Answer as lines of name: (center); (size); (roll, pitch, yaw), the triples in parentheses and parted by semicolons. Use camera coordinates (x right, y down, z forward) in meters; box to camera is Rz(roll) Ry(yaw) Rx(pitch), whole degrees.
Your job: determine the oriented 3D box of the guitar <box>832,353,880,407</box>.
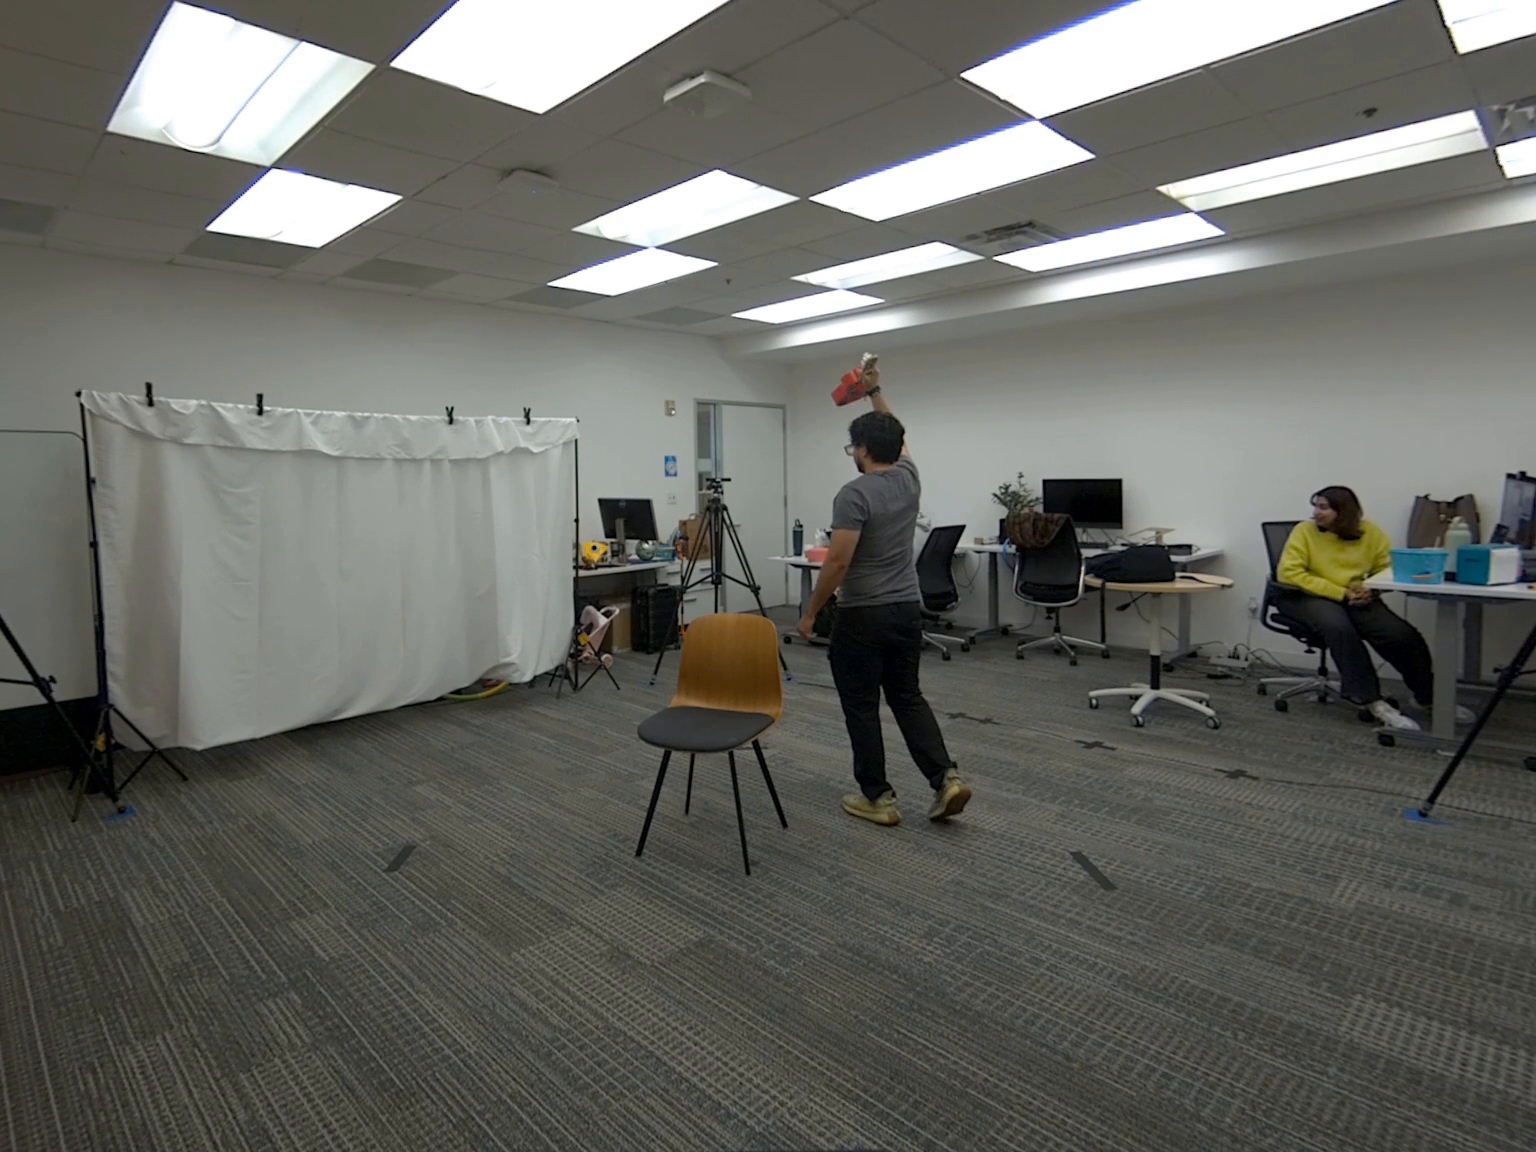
guitar: (0.433, -0.882, 3.749); (0.191, 0.071, 0.496); (-20, -8, -15)
